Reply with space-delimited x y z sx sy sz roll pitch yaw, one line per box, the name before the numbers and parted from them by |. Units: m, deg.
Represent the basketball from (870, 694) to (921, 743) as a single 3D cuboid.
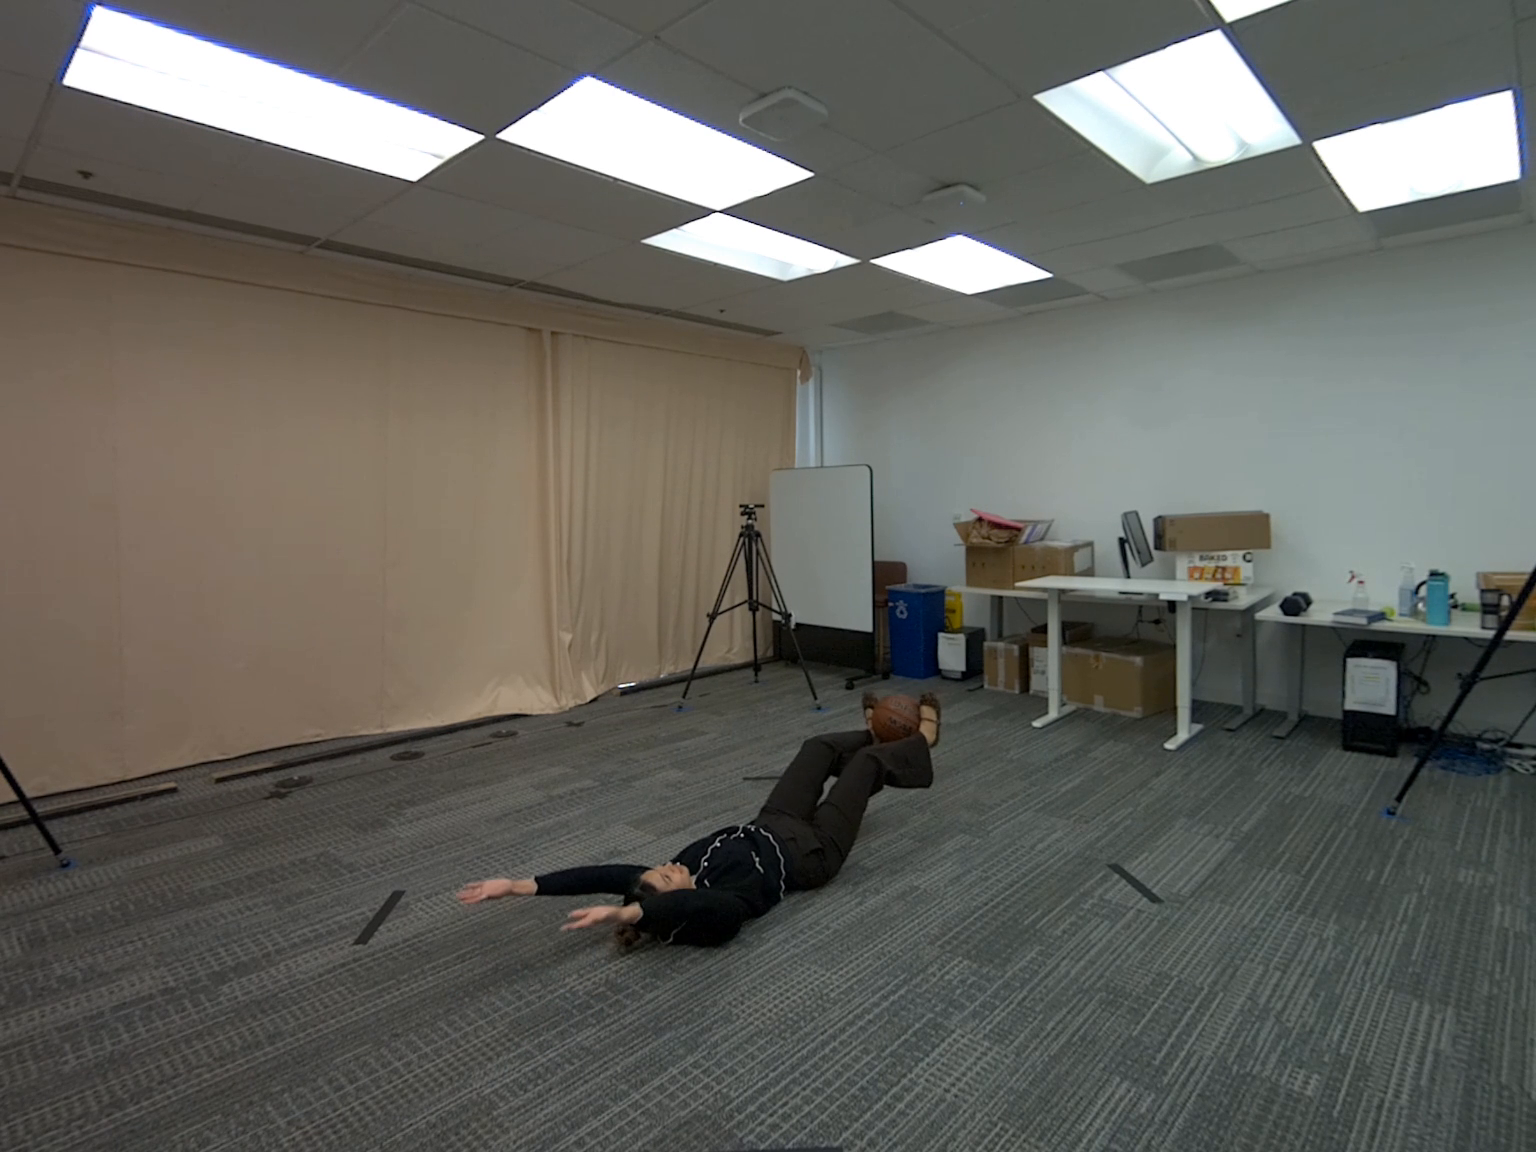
basketball | 0.576 0.649 3.730 0.236 0.235 0.237 -1 4 -2
